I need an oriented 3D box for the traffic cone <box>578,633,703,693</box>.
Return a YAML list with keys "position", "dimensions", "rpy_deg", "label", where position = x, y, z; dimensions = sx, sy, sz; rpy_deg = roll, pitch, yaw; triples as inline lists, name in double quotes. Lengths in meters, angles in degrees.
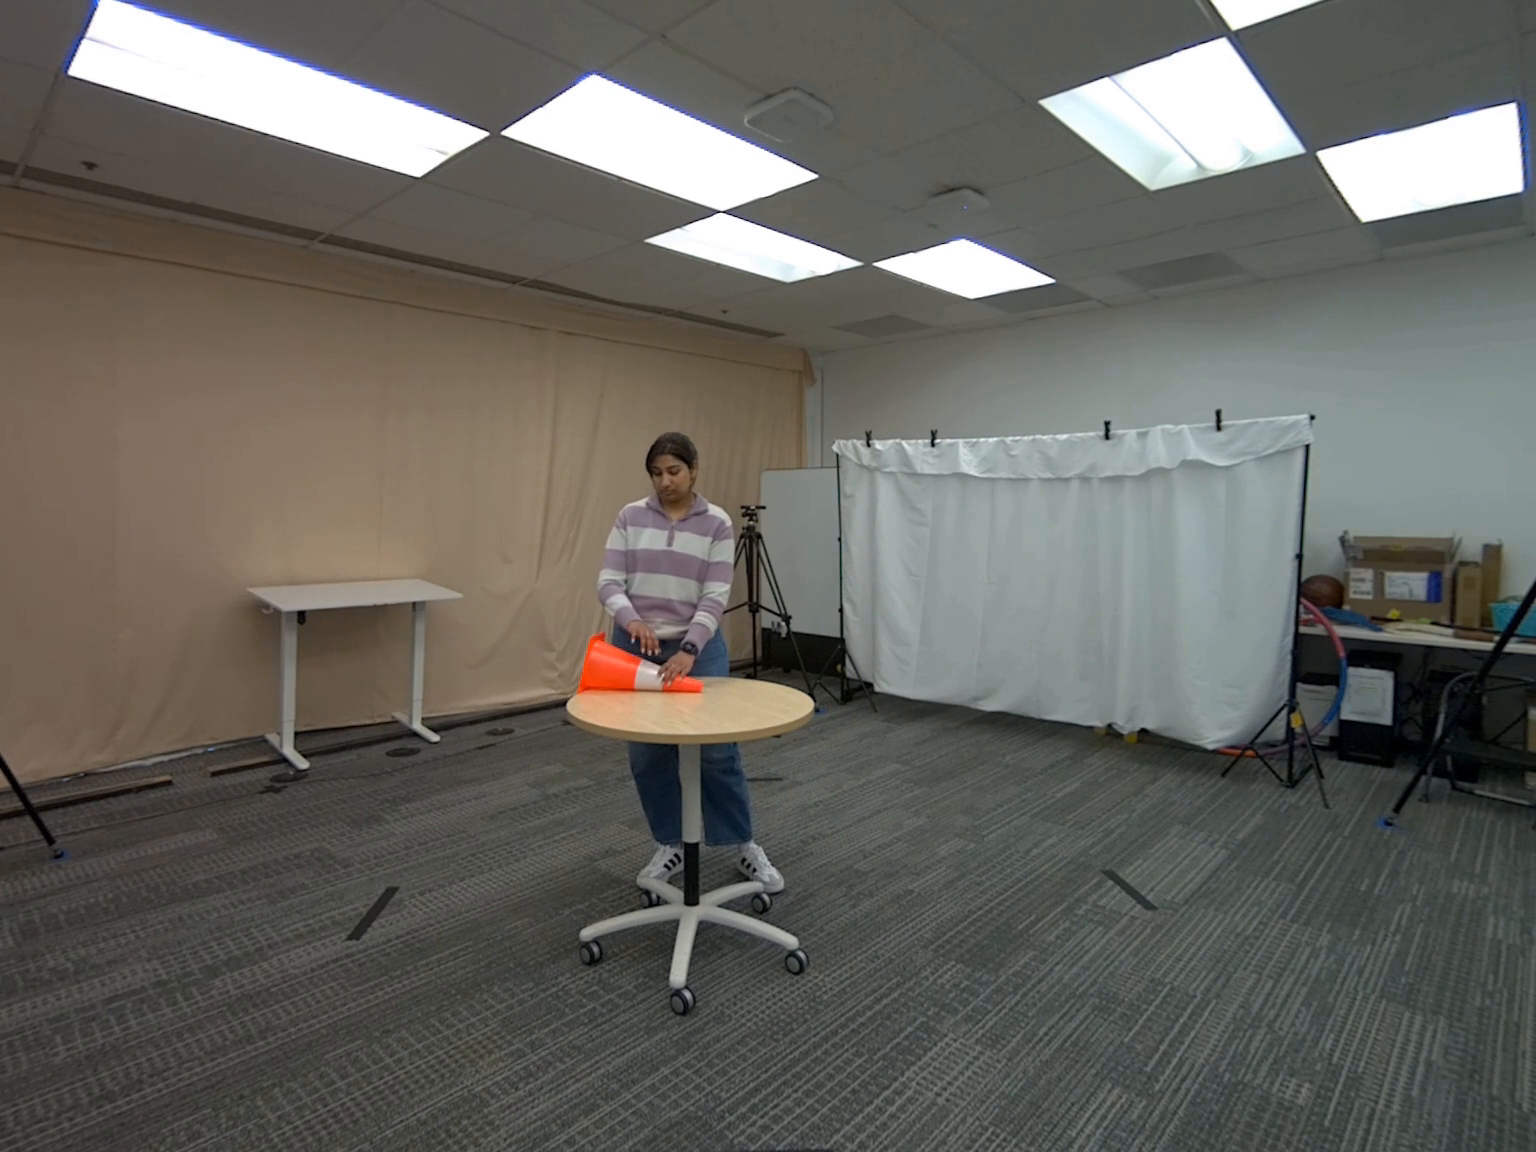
- position: [-0.401, 0.328, 2.786]
  dimensions: [0.388, 0.203, 0.203]
  rpy_deg: [11, 4, 9]
  label: "traffic cone"
